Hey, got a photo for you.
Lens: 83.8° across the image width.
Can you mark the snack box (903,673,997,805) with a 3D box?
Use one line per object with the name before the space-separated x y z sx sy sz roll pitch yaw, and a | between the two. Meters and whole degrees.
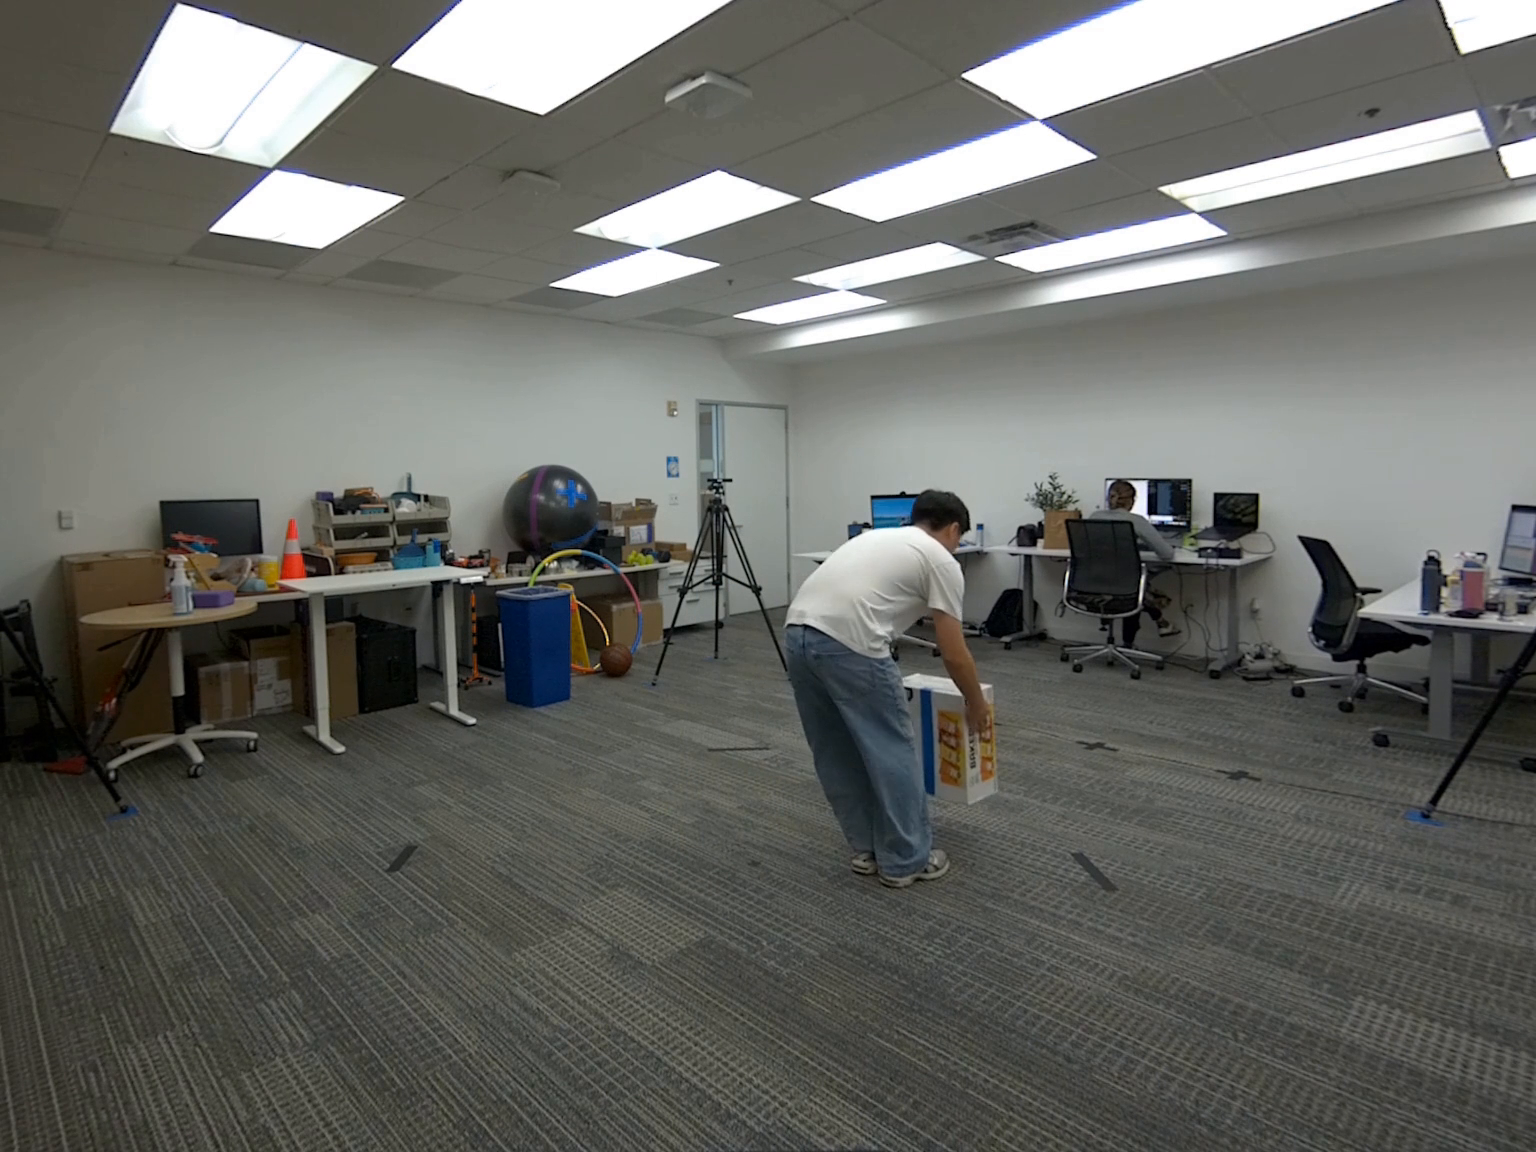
snack box | 0.667 0.604 3.273 0.200 0.404 0.350 -5 4 -42
